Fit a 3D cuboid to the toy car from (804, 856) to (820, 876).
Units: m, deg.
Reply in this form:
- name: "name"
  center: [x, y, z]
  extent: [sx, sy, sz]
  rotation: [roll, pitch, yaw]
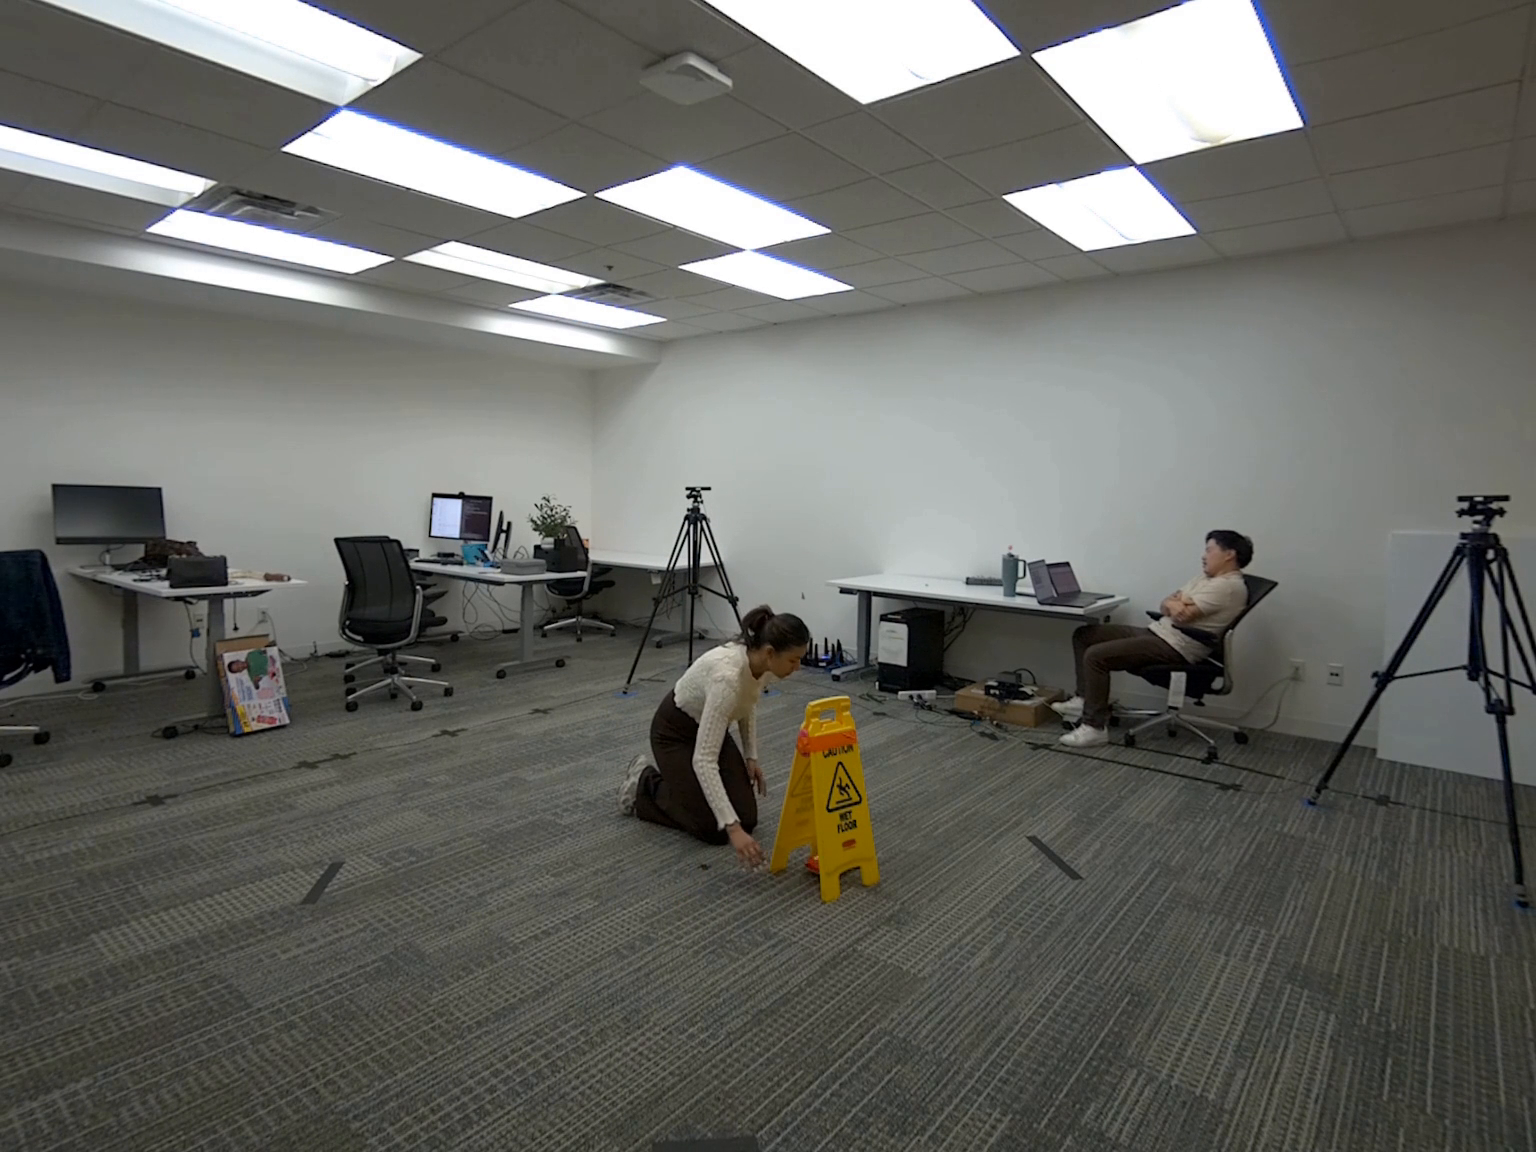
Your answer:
- name: "toy car"
  center: [0.221, 1.044, 3.094]
  extent: [0.135, 0.083, 0.245]
  rotation: [5, -3, 45]
